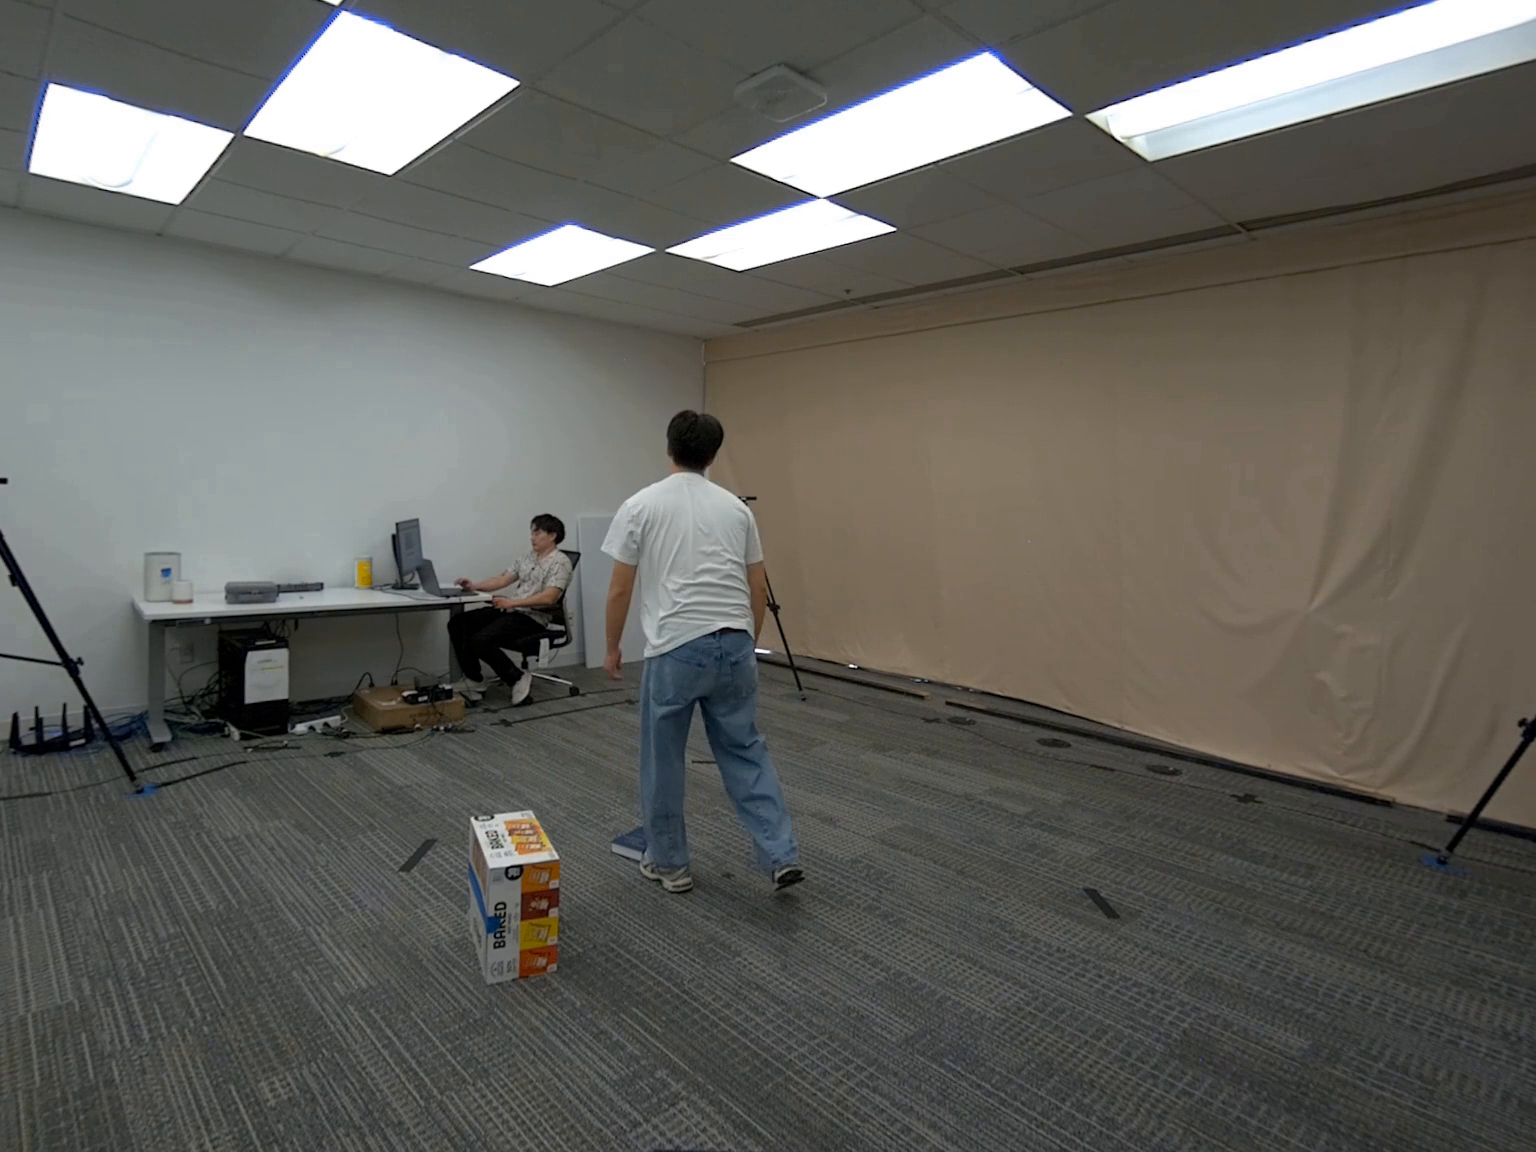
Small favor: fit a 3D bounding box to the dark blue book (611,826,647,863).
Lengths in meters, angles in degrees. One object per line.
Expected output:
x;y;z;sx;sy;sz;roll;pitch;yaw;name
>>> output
-0.494;1.056;3.340;0.167;0.045;0.240;5;6;31;dark blue book
